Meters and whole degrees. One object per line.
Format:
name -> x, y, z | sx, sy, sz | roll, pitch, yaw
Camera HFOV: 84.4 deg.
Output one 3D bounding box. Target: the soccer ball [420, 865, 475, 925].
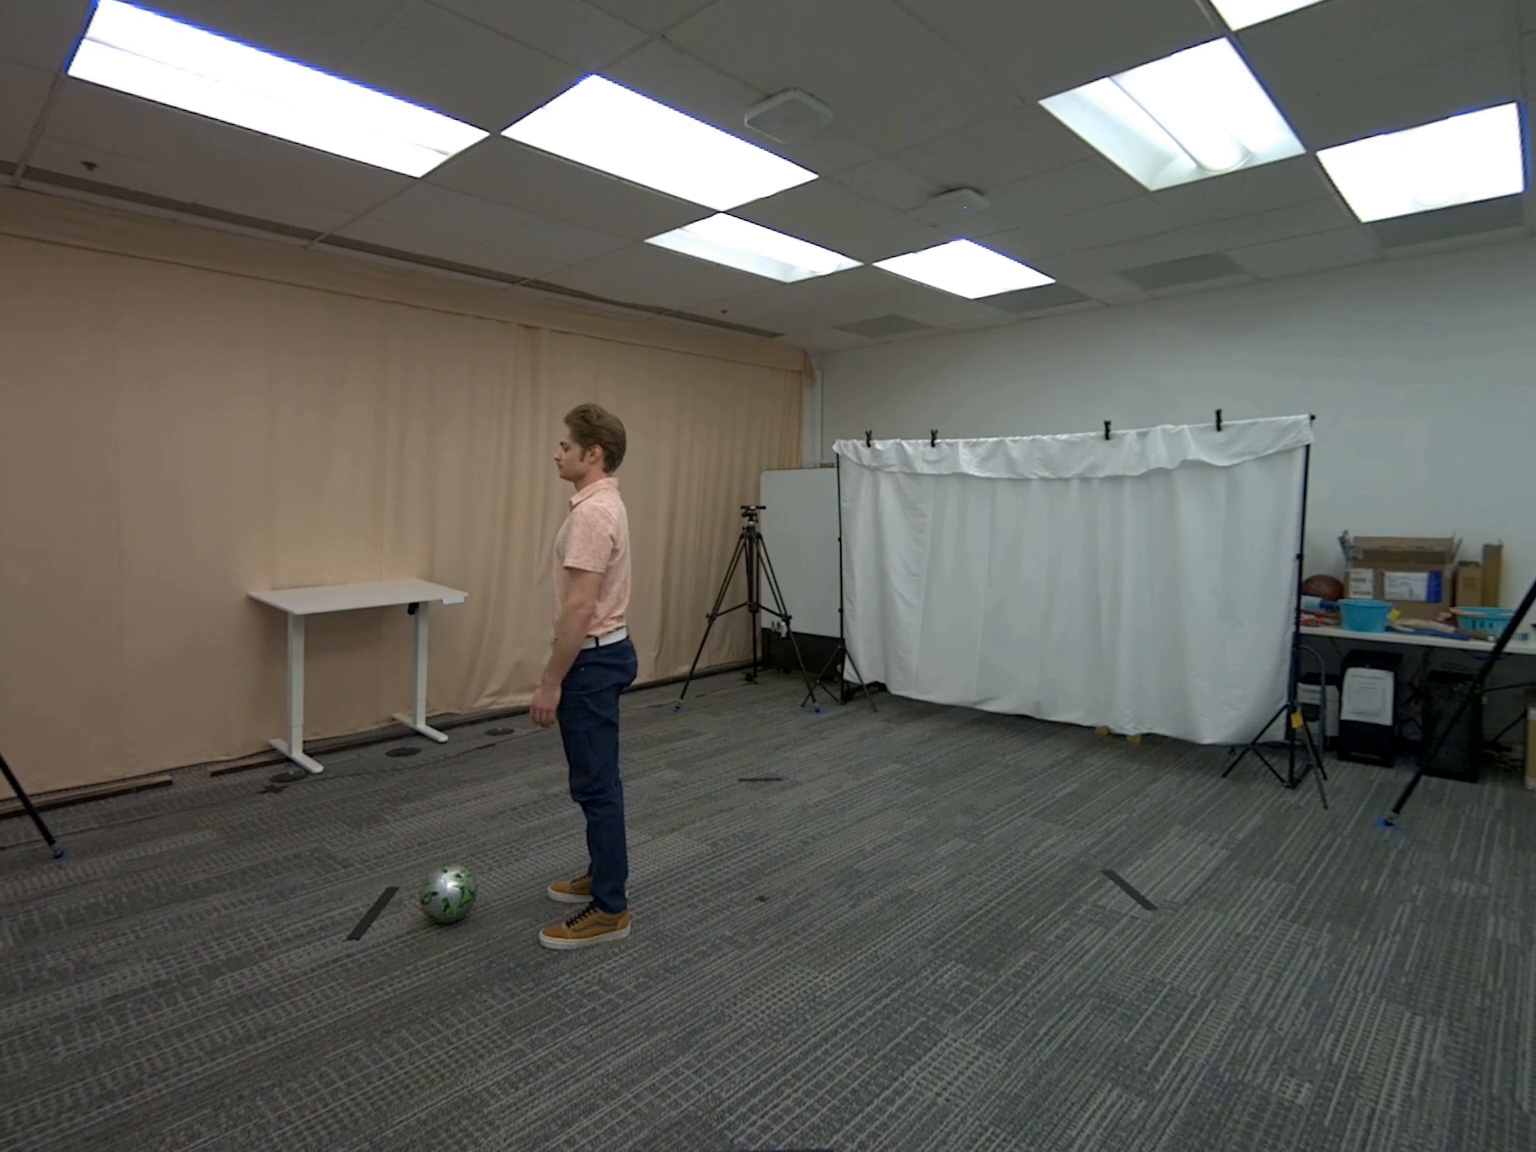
soccer ball -> -1.085, 1.074, 2.842 | 0.187, 0.187, 0.188 | 0, 4, -2
